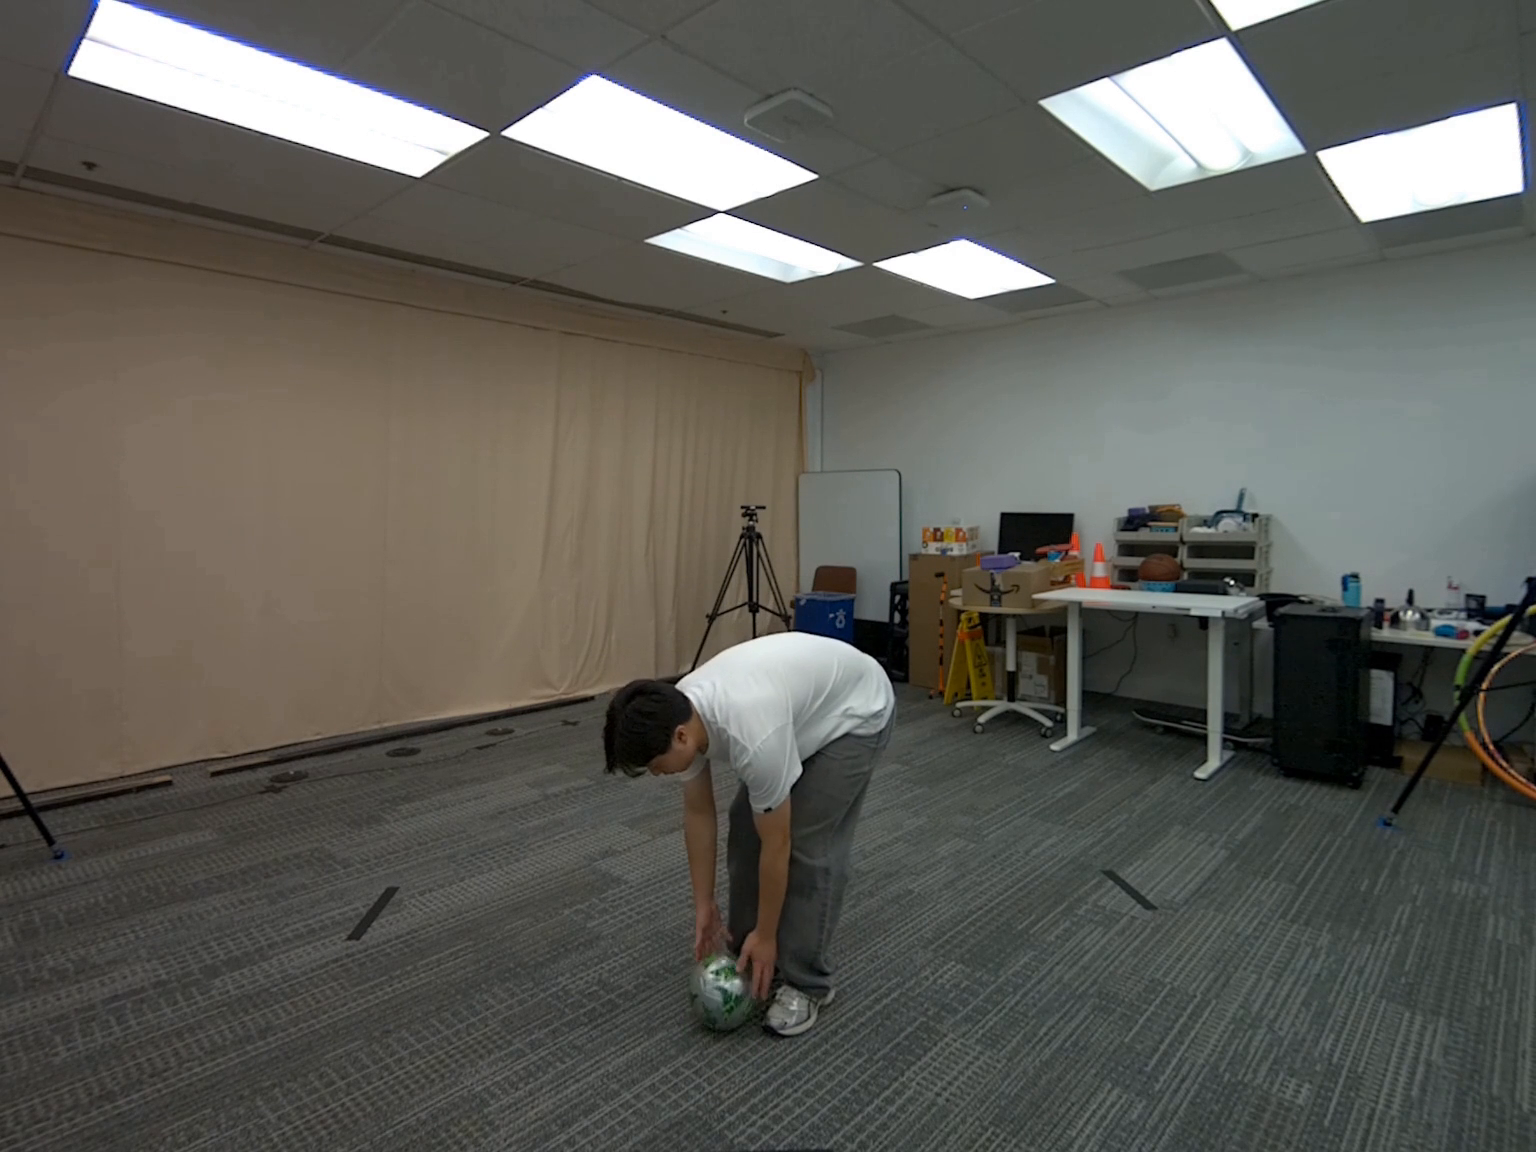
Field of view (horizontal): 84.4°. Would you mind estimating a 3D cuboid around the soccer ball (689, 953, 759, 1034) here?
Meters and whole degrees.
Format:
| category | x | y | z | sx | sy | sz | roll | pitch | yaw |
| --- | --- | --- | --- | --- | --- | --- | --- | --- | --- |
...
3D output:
| category | x | y | z | sx | sy | sz | roll | pitch | yaw |
| --- | --- | --- | --- | --- | --- | --- | --- | --- | --- |
| soccer ball | -0.117 | 1.104 | 2.251 | 0.187 | 0.187 | 0.188 | 0 | 4 | -2 |
